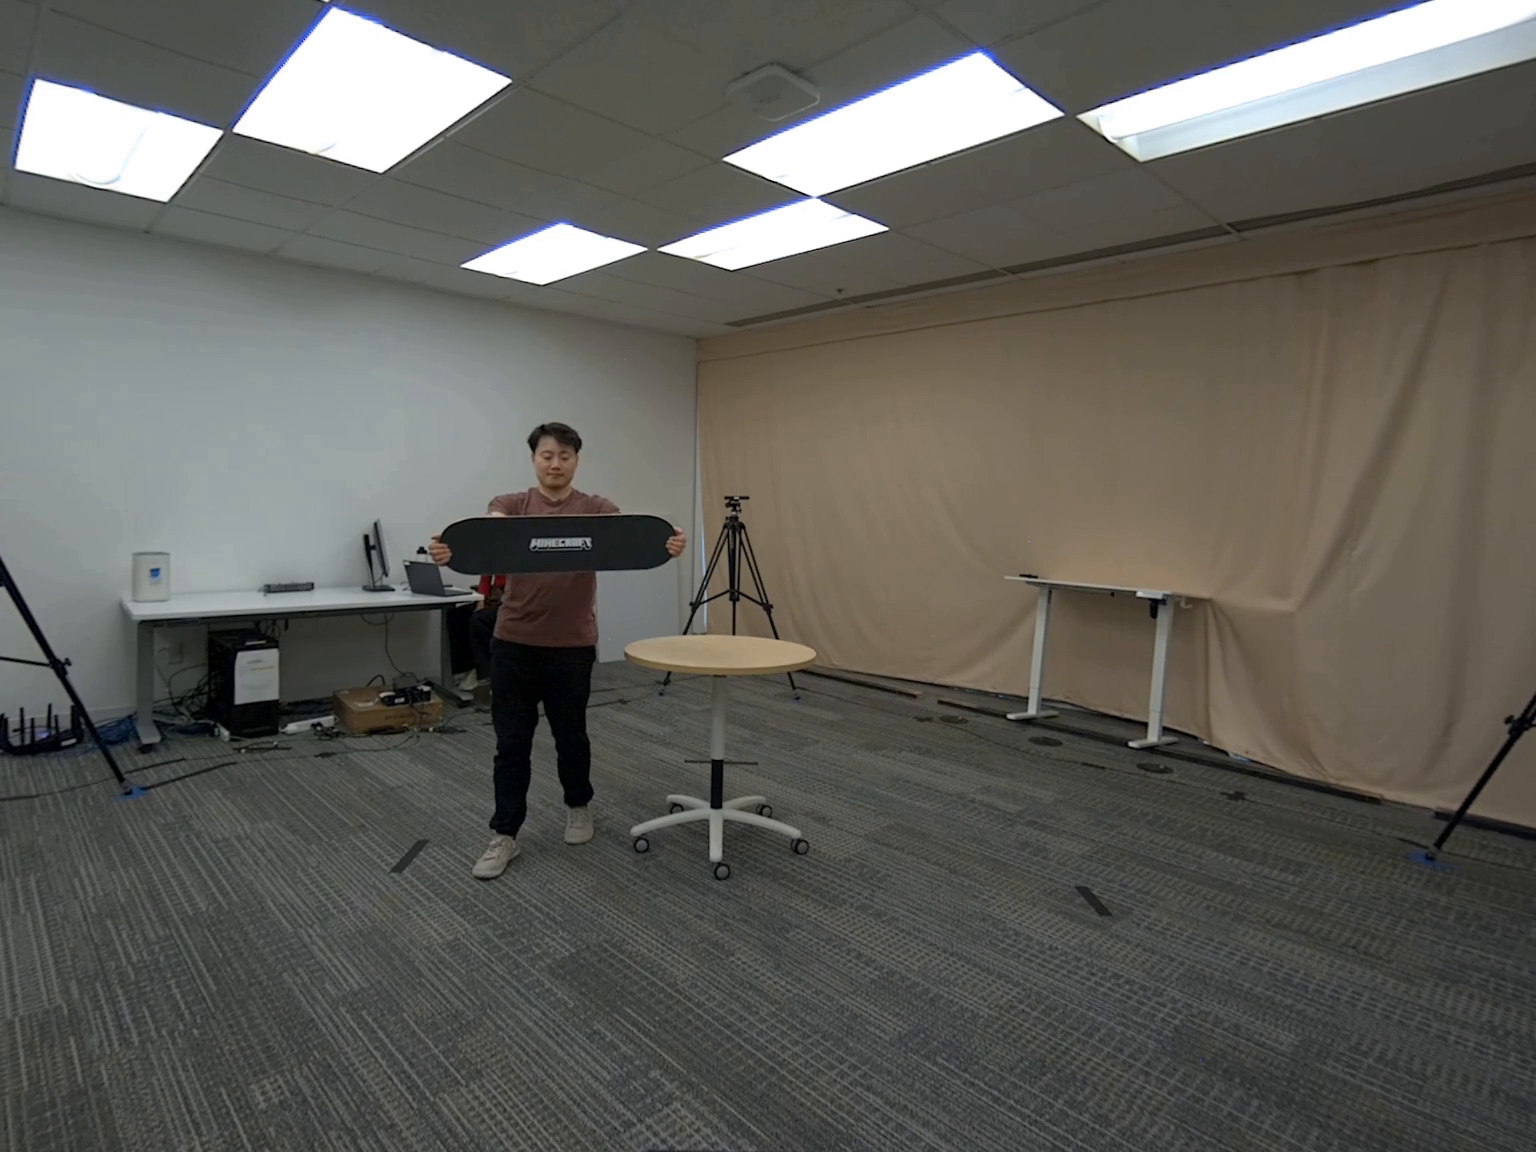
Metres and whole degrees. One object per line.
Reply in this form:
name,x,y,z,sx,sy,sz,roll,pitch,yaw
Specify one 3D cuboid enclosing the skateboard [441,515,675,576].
skateboard,-0.716,-0.111,2.853,0.777,0.194,0.111,-2,-1,-14
